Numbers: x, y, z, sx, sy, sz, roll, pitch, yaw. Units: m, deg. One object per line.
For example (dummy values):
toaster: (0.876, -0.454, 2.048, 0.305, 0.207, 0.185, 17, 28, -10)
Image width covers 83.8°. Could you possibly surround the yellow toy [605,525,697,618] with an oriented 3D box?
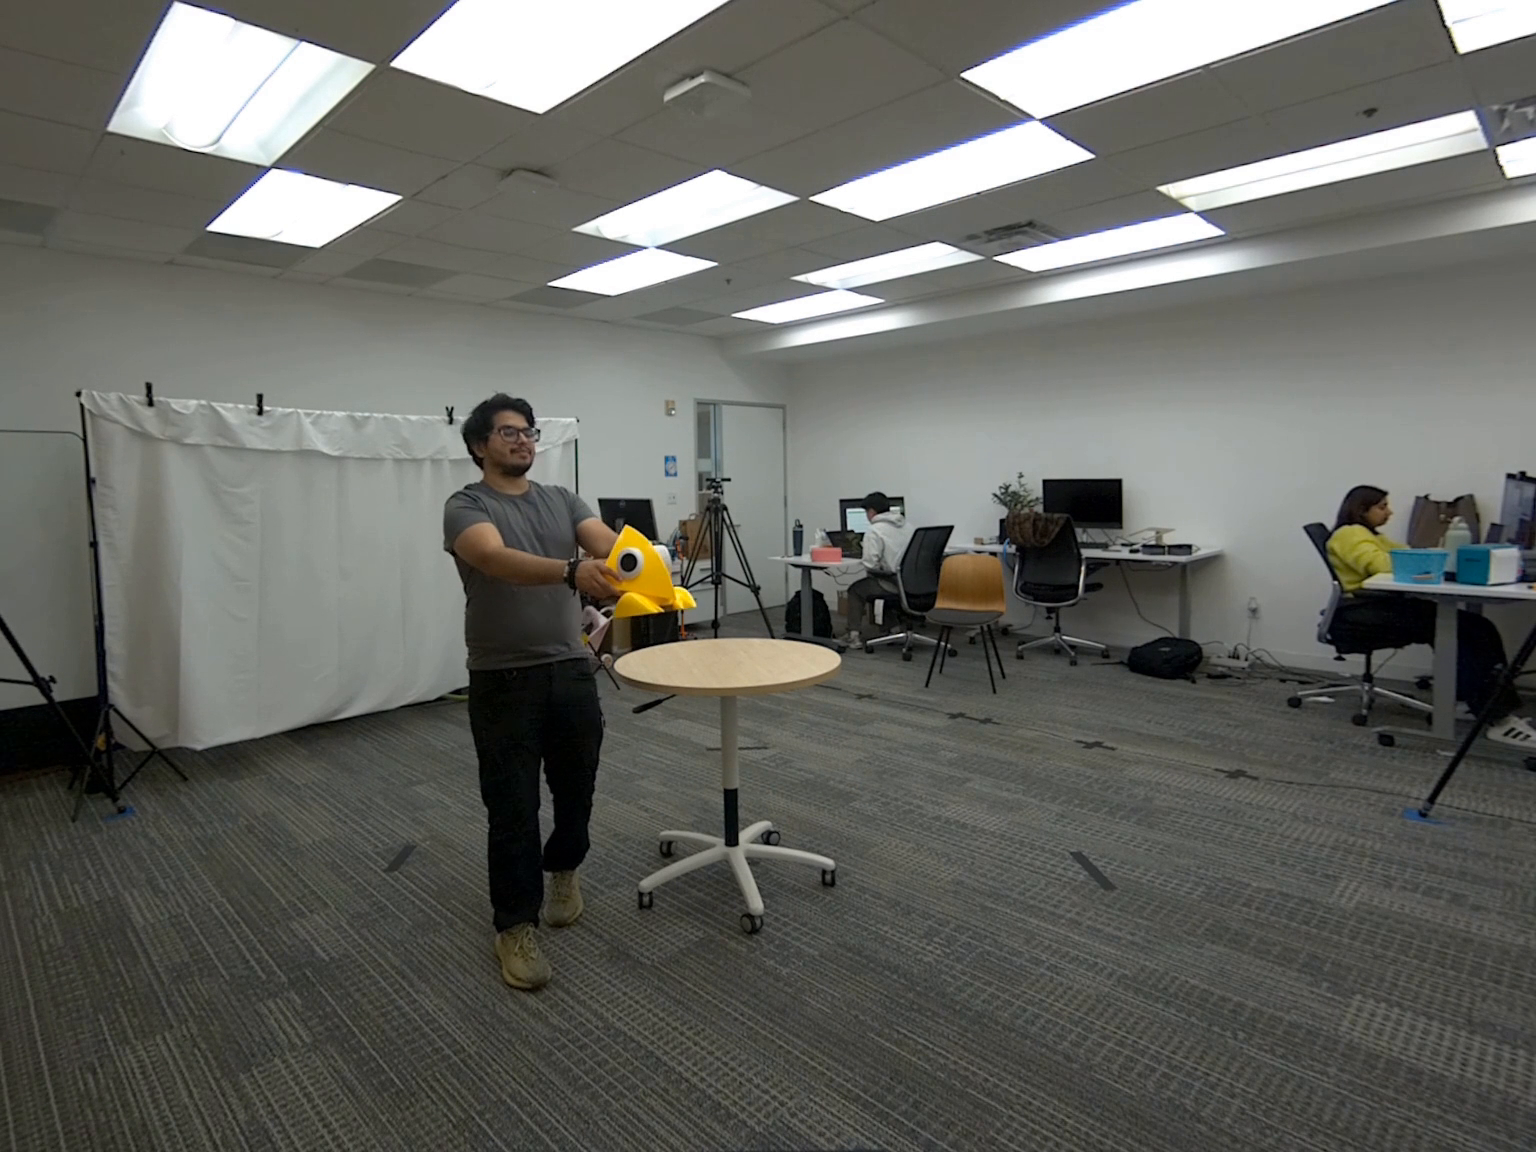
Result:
yellow toy: (-0.300, -0.018, 2.127, 0.198, 0.231, 0.199, -8, -4, 41)
